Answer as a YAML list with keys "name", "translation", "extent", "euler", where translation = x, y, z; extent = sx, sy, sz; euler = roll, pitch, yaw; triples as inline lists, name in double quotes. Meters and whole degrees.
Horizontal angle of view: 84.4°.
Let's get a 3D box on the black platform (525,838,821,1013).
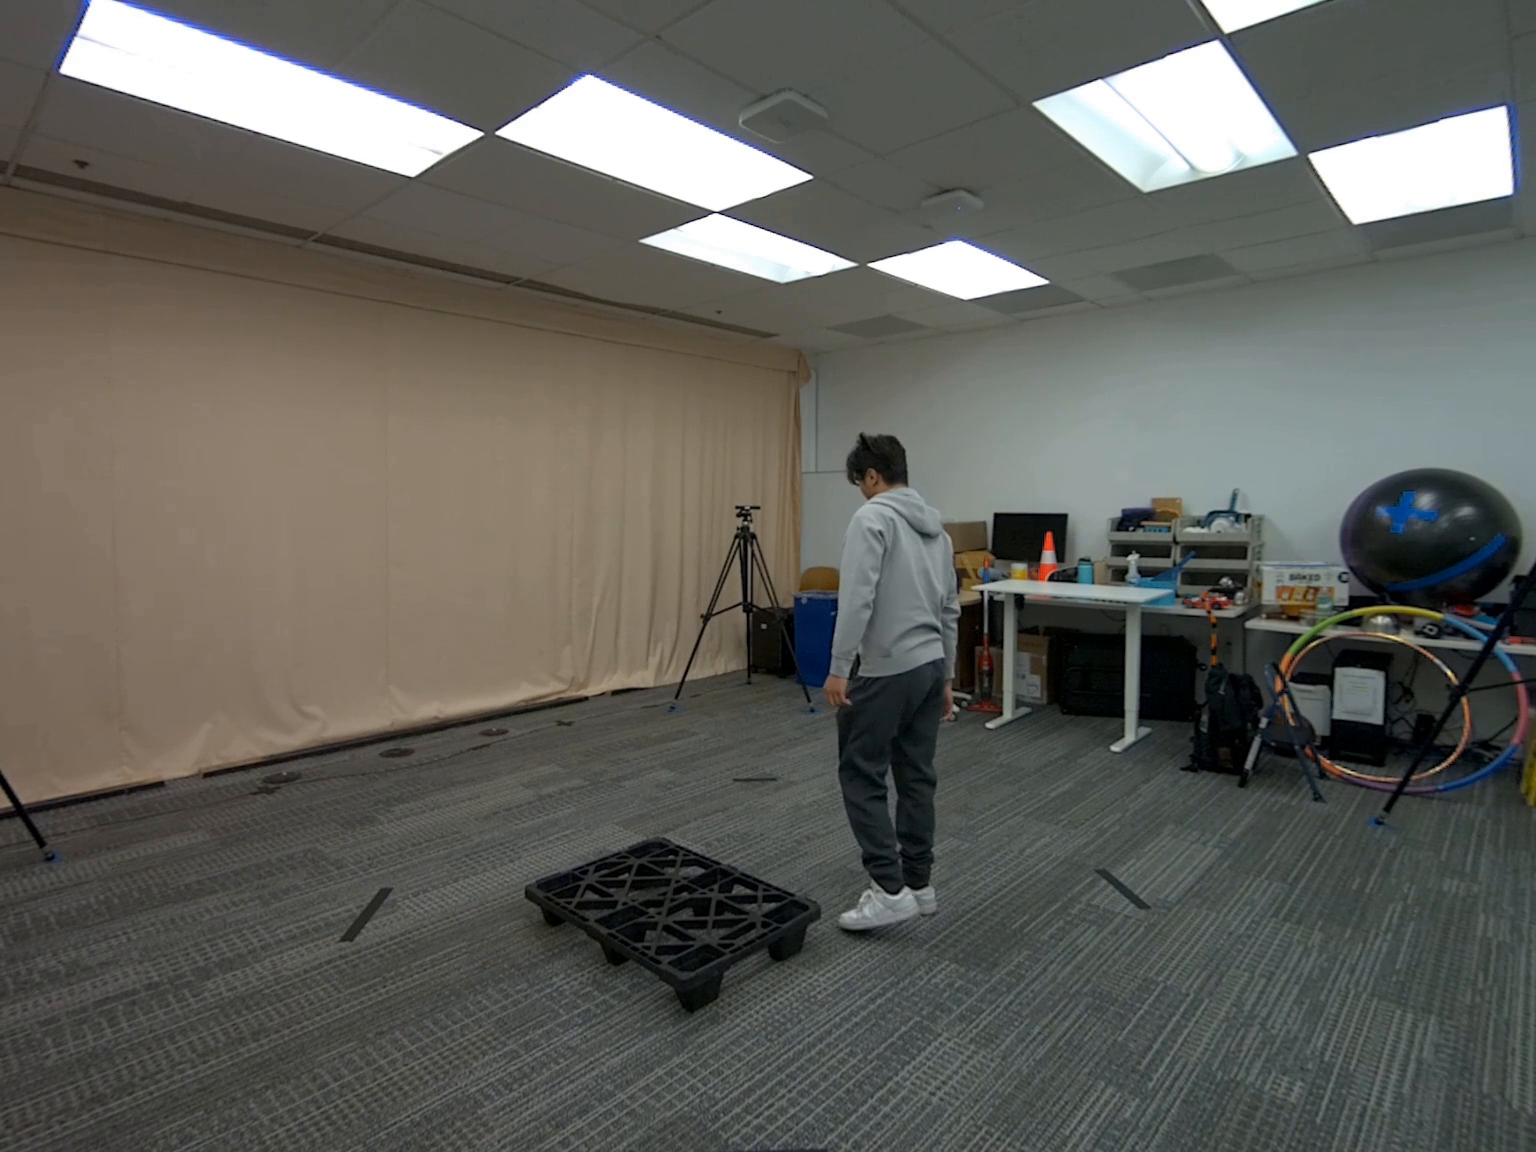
- name: "black platform"
  translation: [-0.319, 1.101, 2.734]
  extent: [0.832, 0.143, 0.586]
  euler: [4, 6, 44]
